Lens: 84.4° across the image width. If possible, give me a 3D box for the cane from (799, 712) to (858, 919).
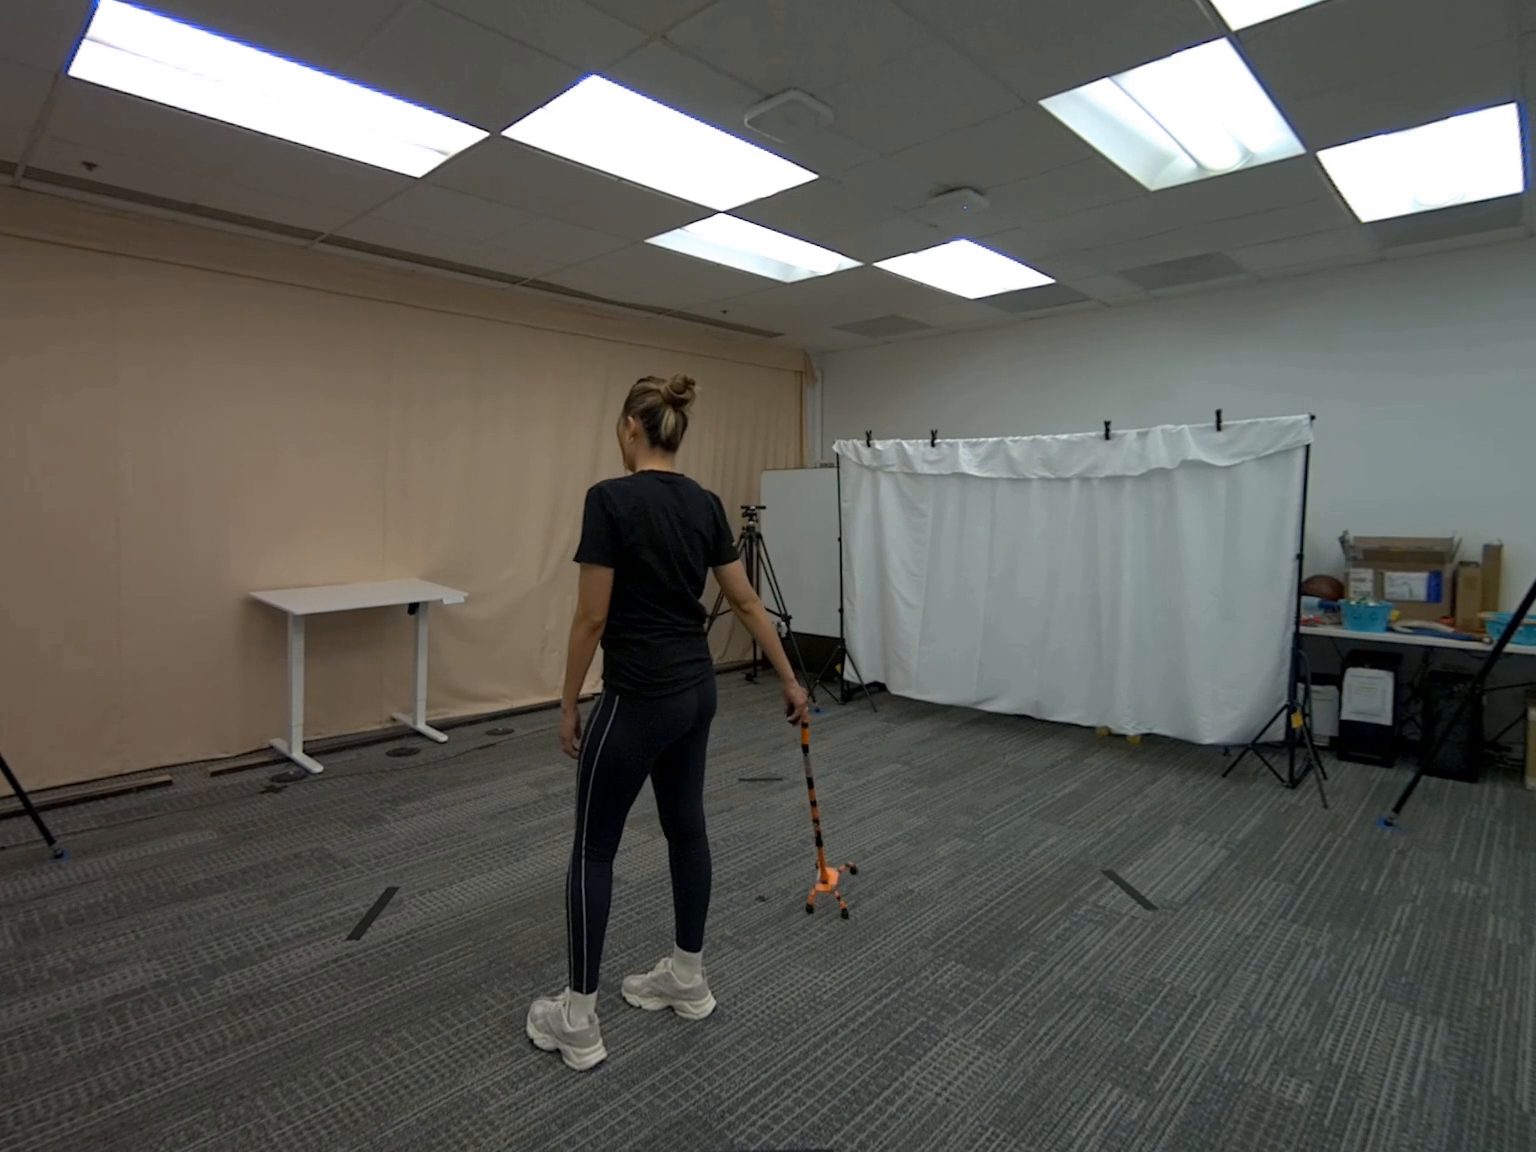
[{"bbox_3d":[0.163,0.725,2.704,0.154,0.888,0.207,0,33,18],"label":"cane"}]
